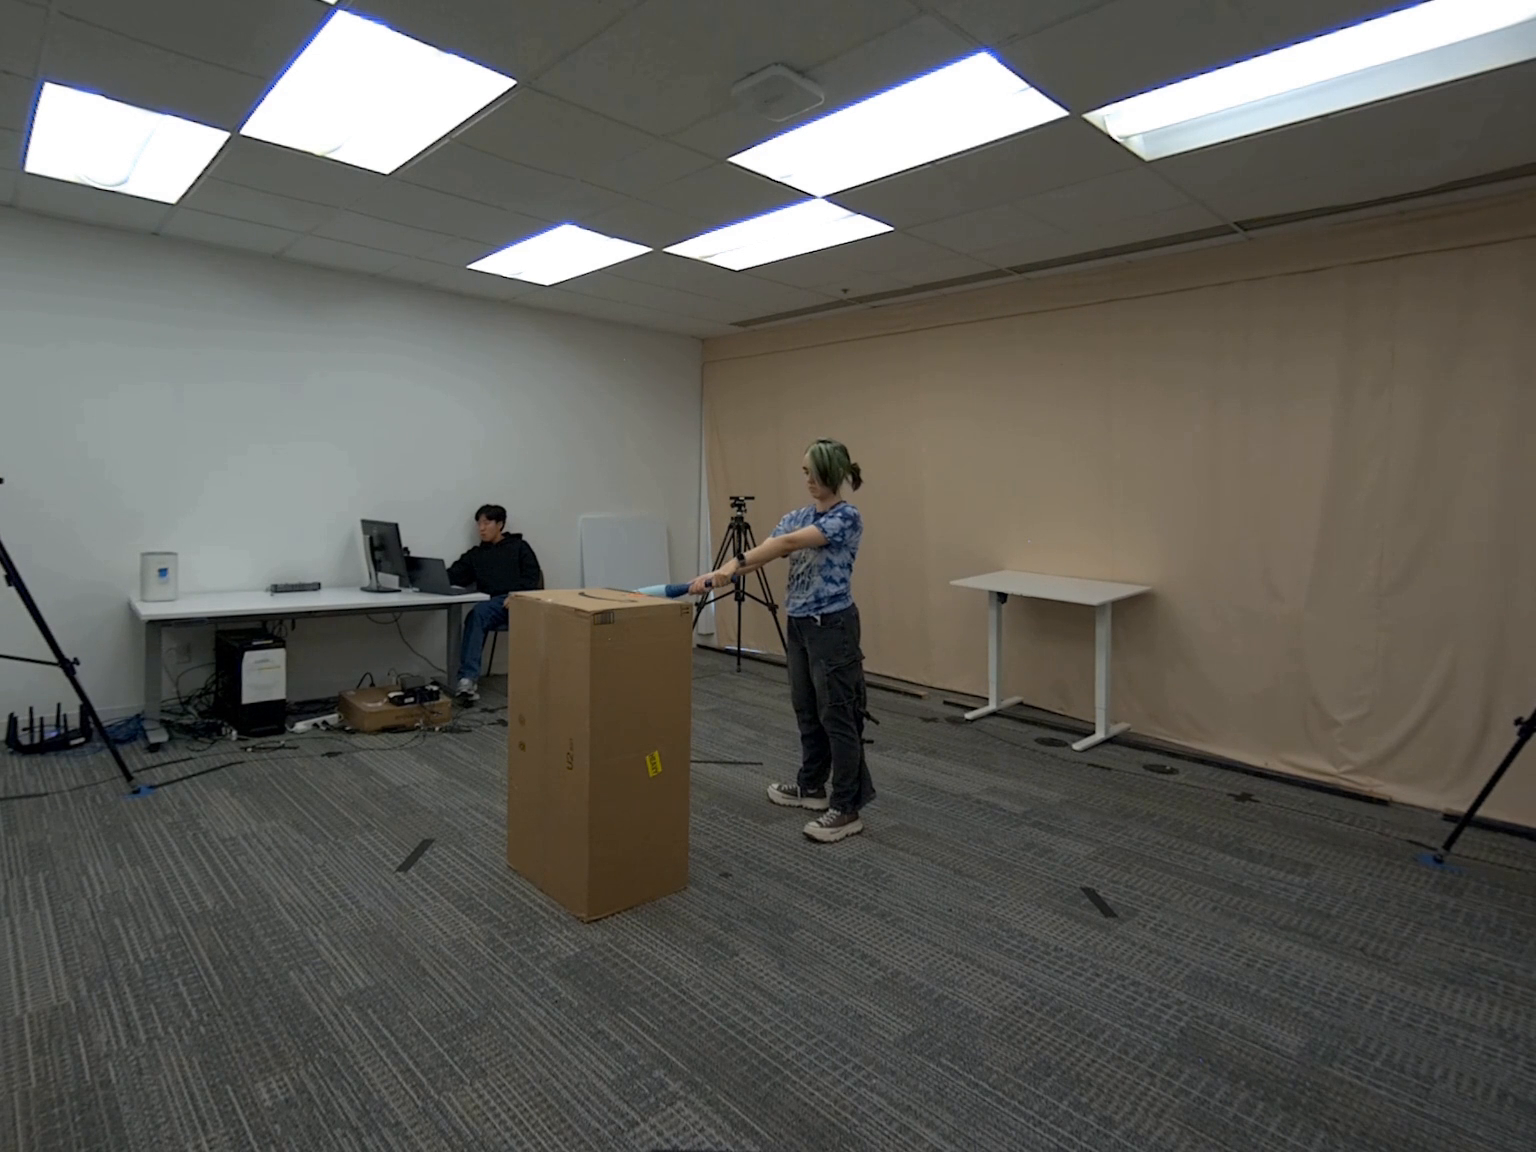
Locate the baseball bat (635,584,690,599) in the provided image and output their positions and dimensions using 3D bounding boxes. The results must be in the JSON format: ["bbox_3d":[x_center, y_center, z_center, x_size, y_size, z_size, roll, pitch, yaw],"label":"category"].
[{"bbox_3d":[-0.401,0.062,3.429,0.546,0.089,0.088,-14,2,10],"label":"baseball bat"}]
